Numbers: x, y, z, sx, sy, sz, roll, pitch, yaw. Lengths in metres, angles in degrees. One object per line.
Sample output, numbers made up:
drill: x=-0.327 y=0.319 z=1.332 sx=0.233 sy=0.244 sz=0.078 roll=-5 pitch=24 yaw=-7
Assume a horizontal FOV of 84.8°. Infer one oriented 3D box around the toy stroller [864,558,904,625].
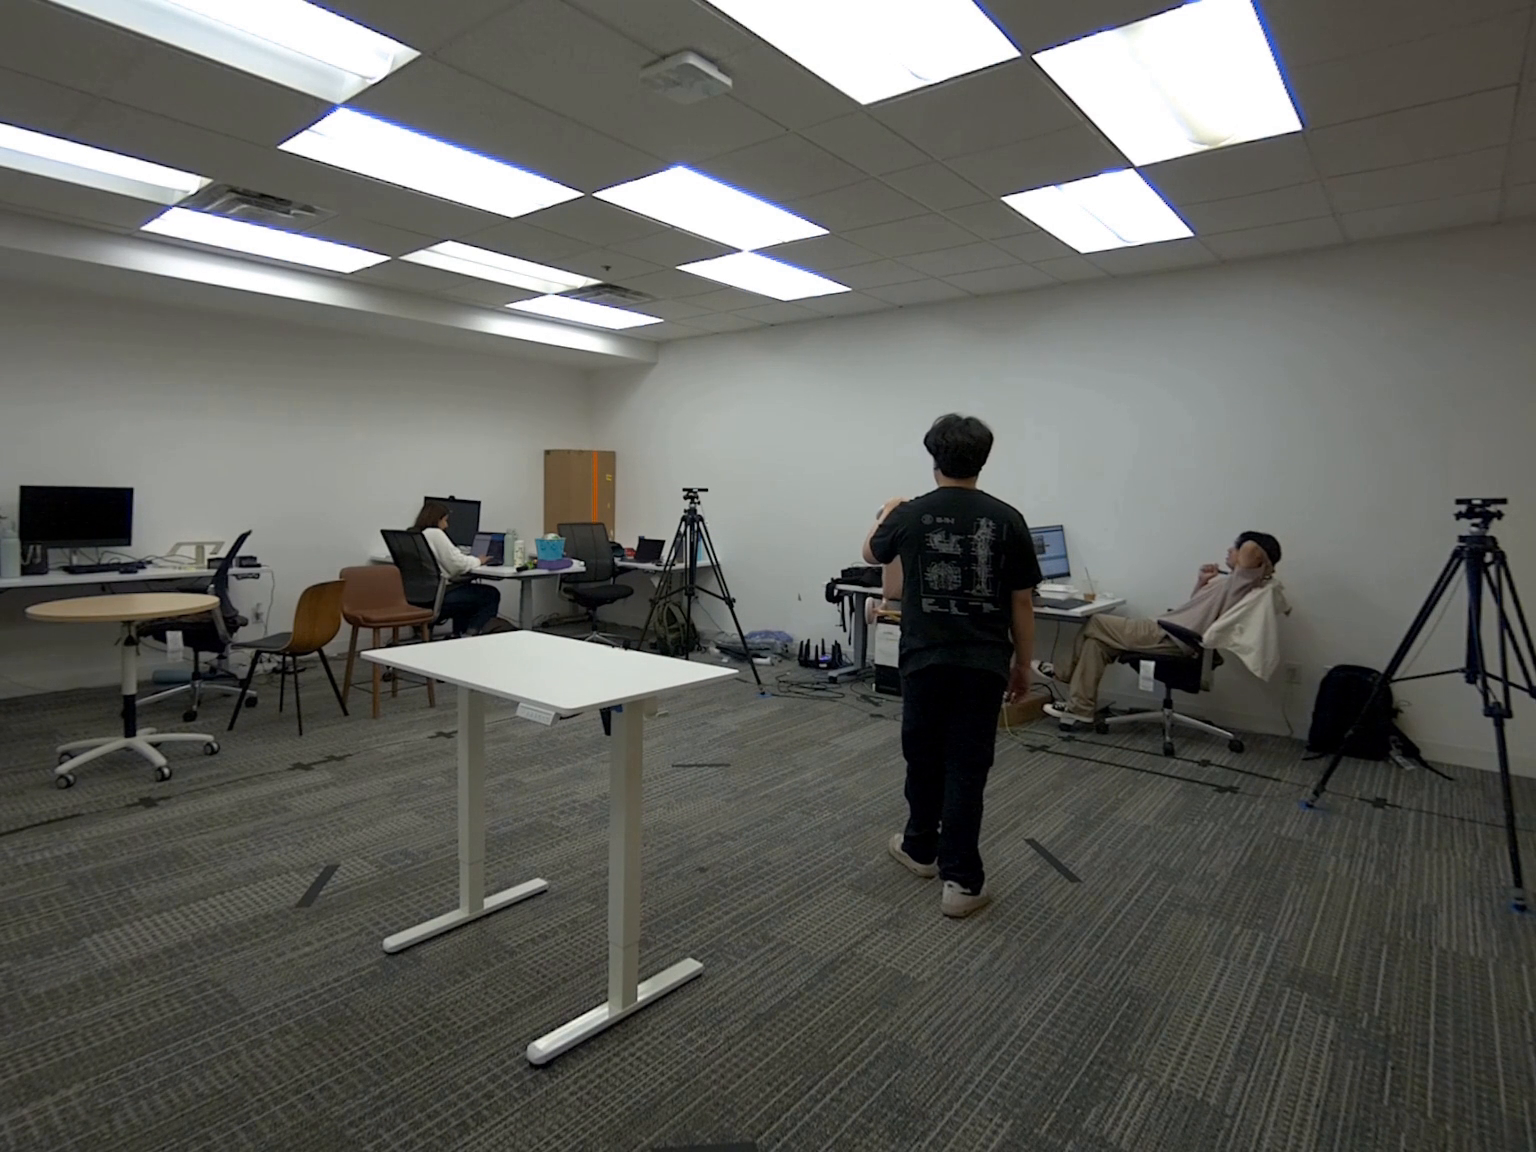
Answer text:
toy stroller: x=0.564 y=-0.005 z=3.508 sx=0.288 sy=0.539 sz=0.331 roll=0 pitch=-8 yaw=23
